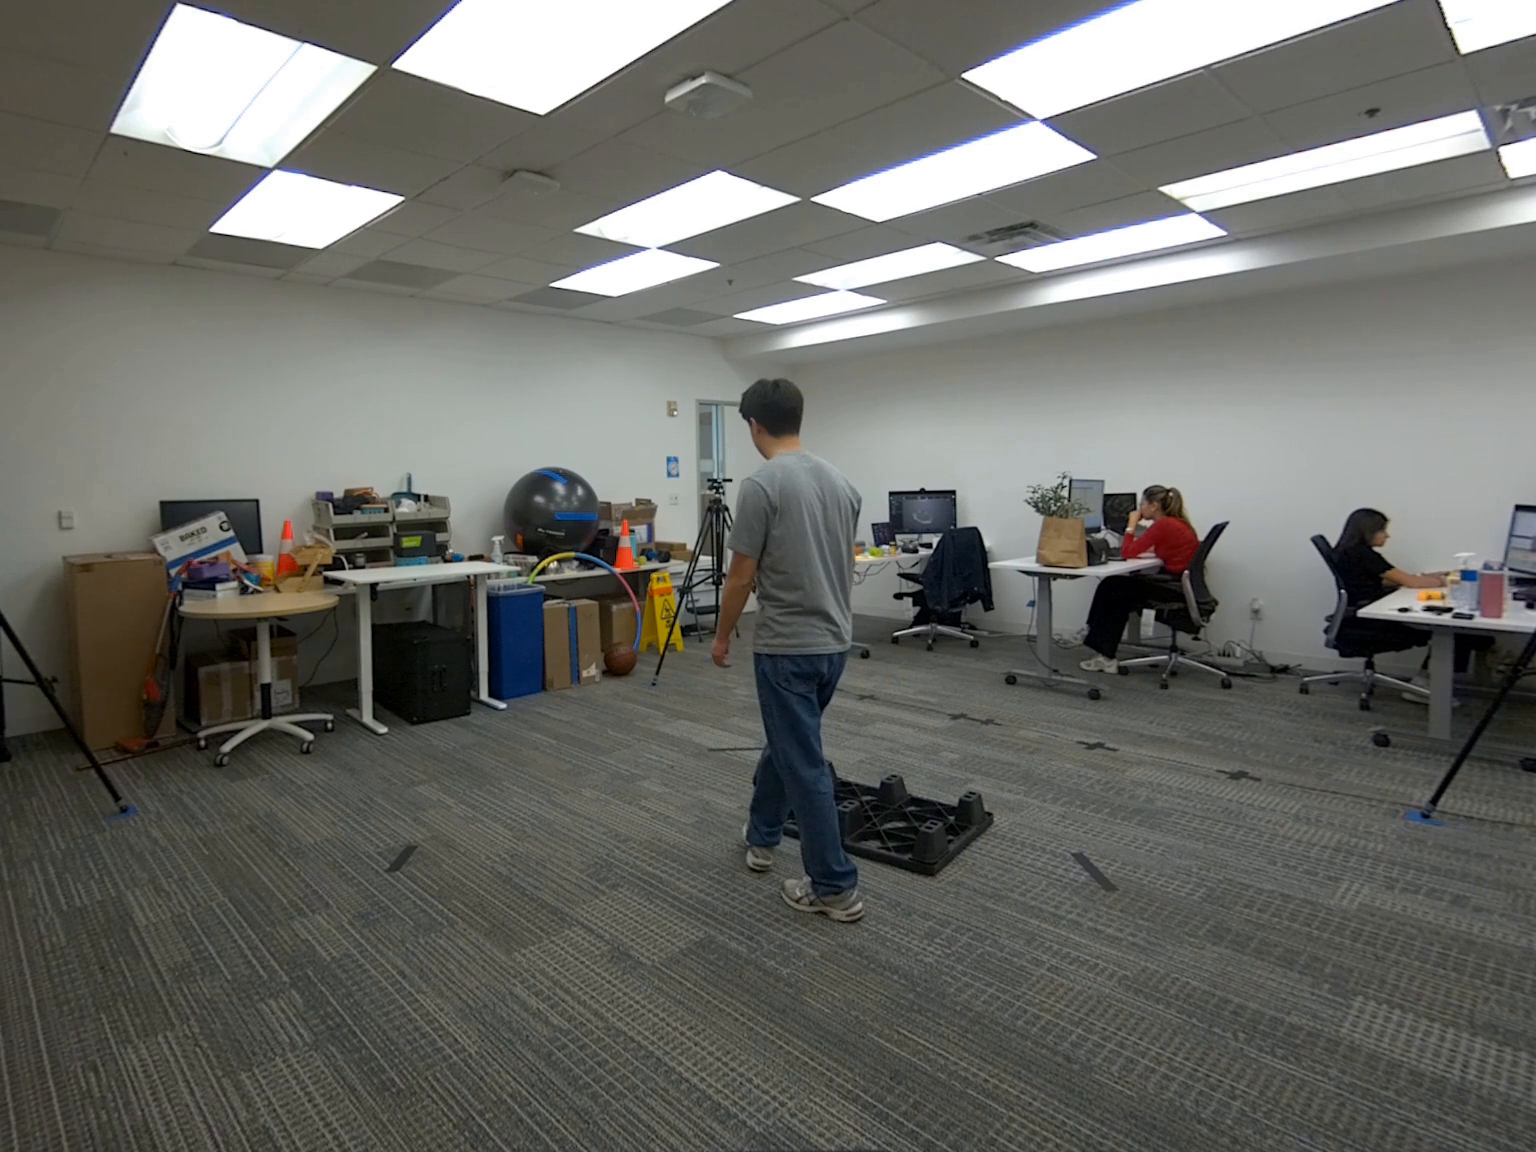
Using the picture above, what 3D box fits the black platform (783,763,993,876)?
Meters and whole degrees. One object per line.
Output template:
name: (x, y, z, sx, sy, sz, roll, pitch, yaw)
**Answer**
black platform: (0.424, 0.935, 3.444, 0.829, 0.142, 0.591, 4, 8, 36)
